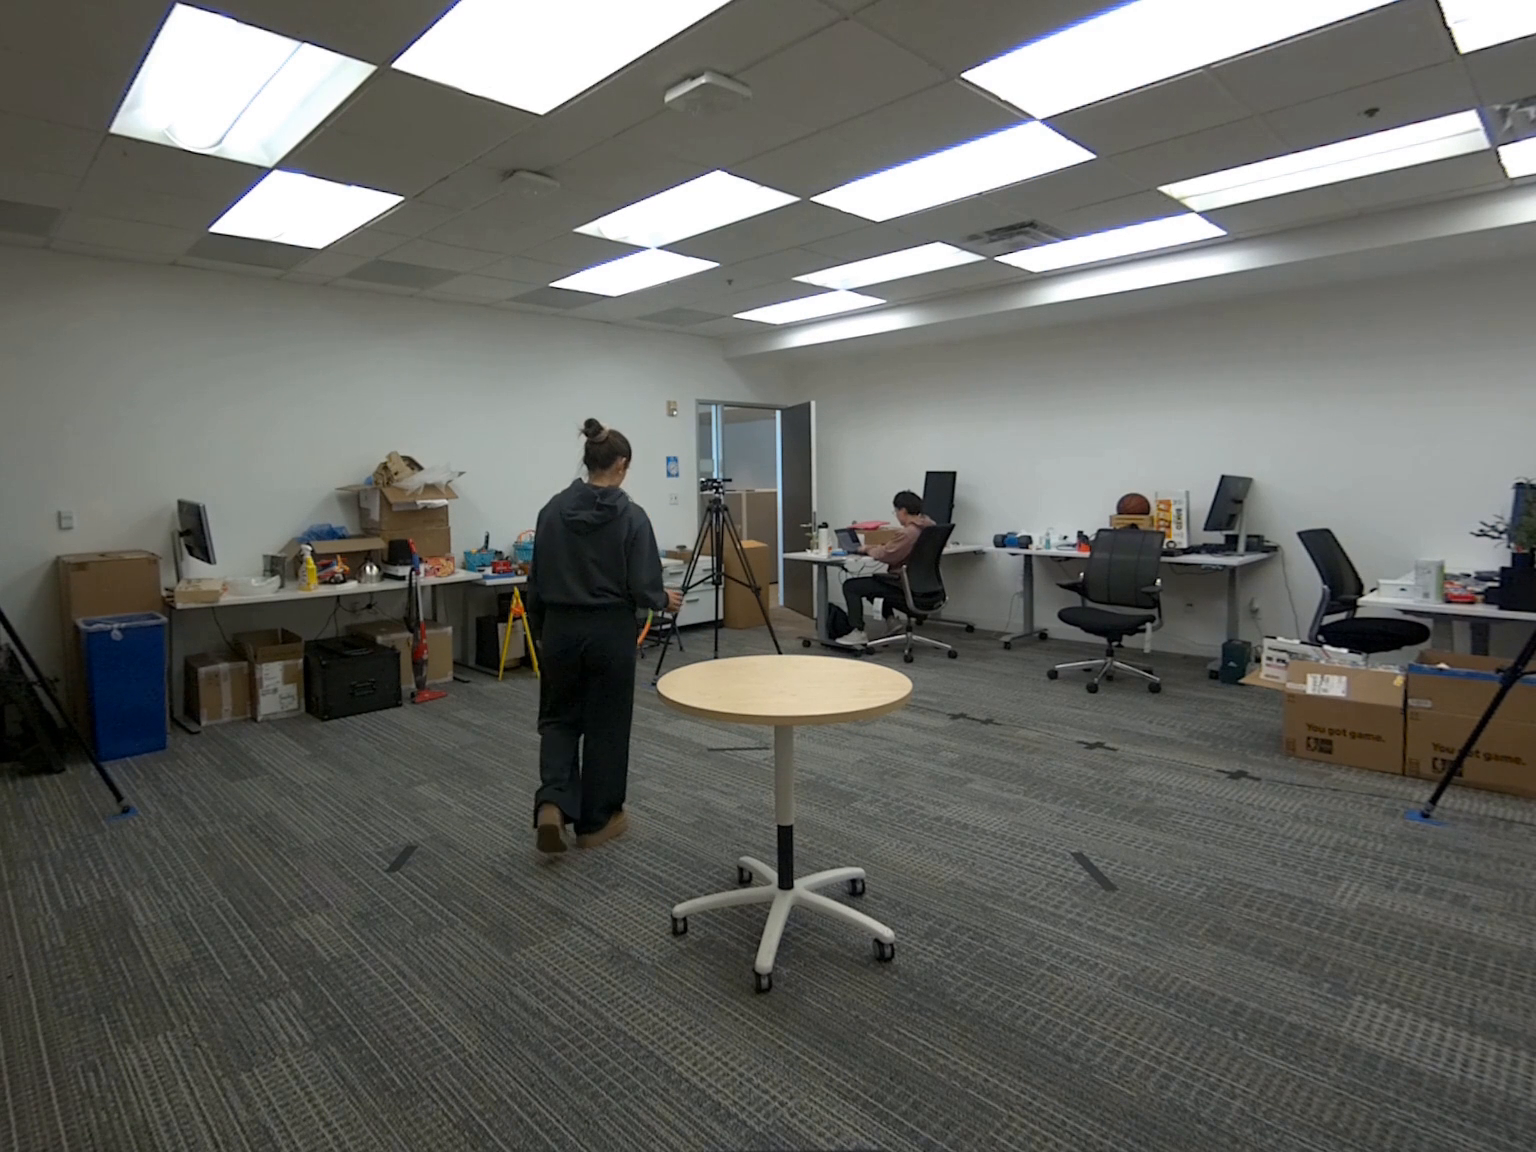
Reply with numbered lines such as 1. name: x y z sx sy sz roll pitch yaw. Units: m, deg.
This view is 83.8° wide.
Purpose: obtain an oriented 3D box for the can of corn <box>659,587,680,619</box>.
1. can of corn: -0.395 0.105 3.412 0.074 0.110 0.075 0 9 -2
